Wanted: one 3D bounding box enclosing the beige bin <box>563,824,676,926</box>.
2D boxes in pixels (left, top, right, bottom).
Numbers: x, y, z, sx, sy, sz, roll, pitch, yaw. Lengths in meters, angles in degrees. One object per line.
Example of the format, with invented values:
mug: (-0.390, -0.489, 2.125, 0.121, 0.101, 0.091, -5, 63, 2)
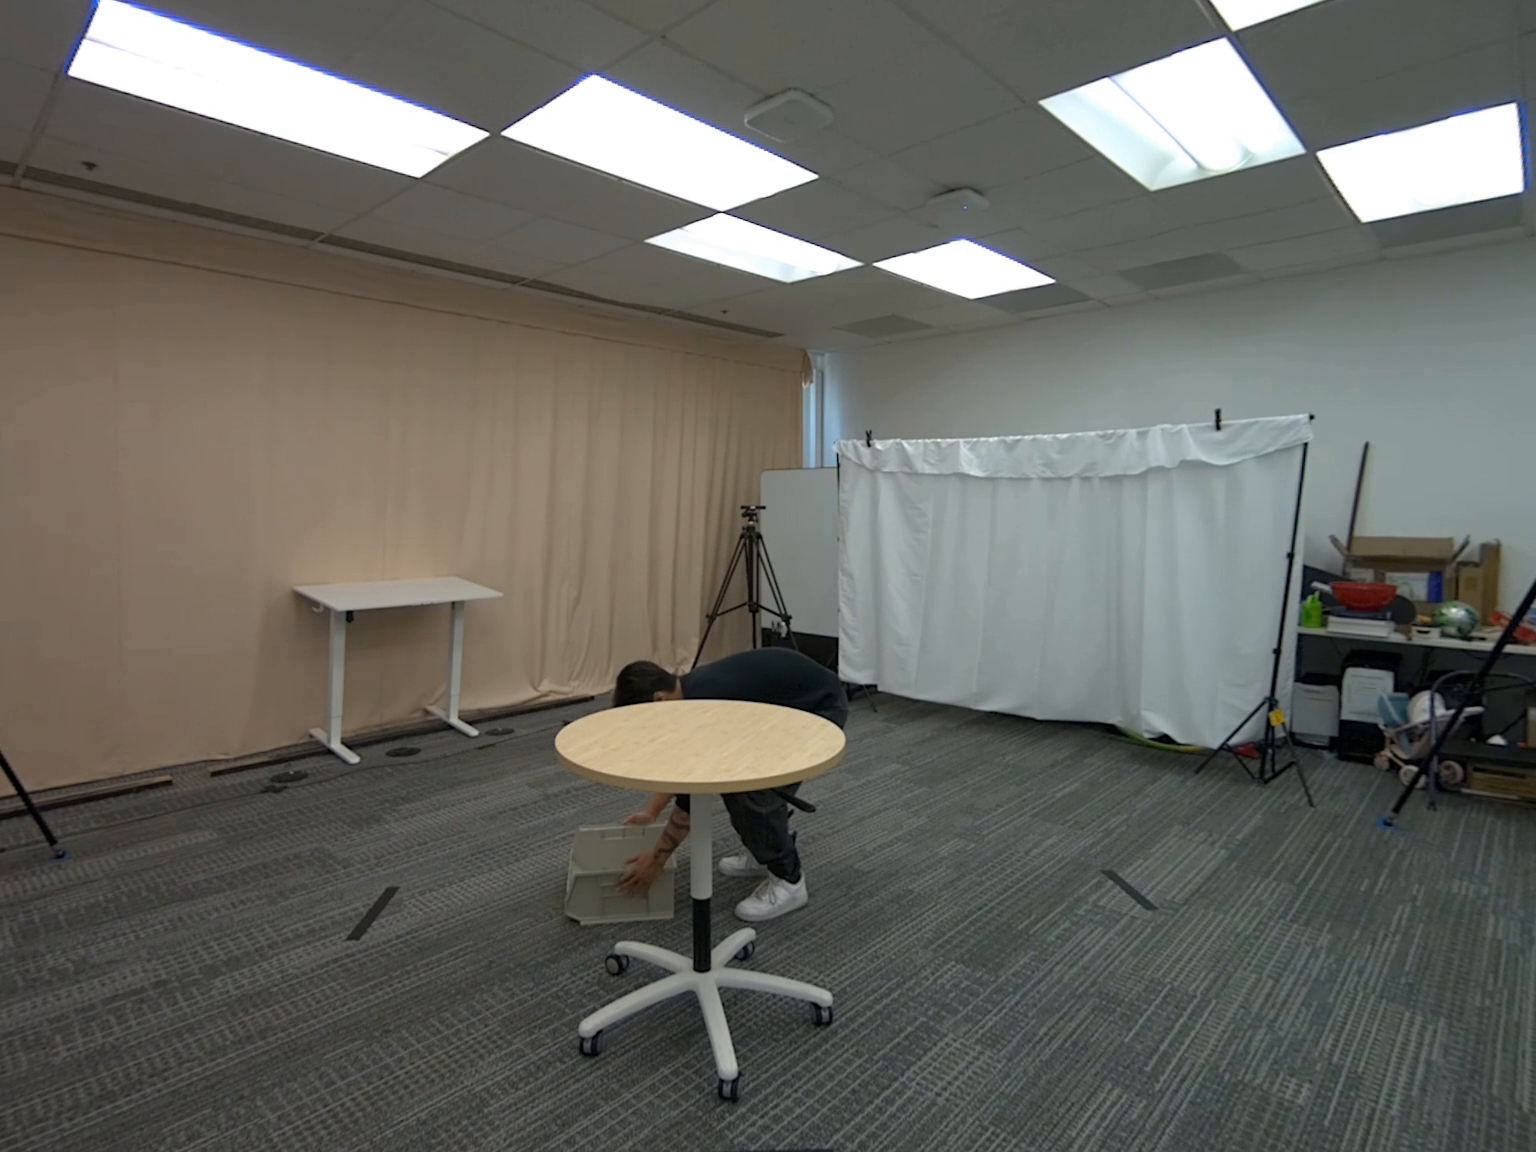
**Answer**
beige bin: (-0.527, 1.059, 3.021, 0.374, 0.188, 0.427, -1, 4, -9)
